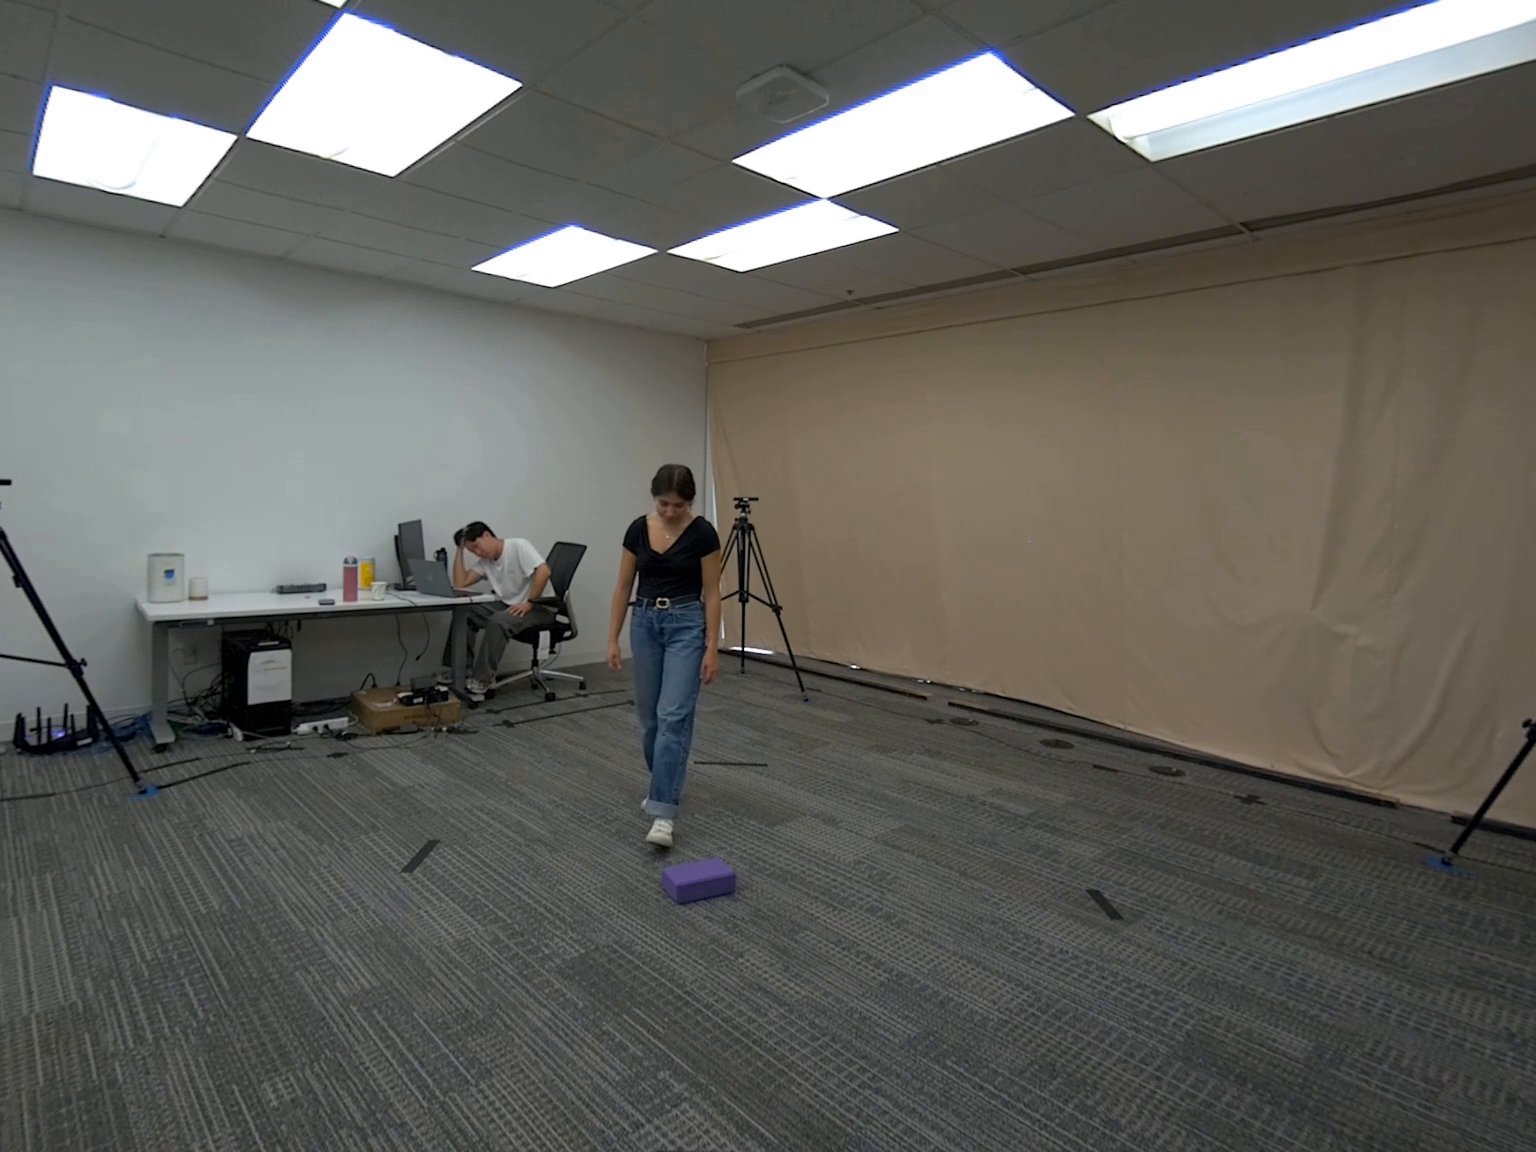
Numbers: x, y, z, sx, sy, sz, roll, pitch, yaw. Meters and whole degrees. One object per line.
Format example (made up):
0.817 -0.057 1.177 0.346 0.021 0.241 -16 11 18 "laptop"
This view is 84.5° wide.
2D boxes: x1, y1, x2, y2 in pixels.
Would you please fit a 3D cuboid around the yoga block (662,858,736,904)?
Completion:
-0.252 1.080 2.974 0.225 0.076 0.152 -2 6 -28 "yoga block"
